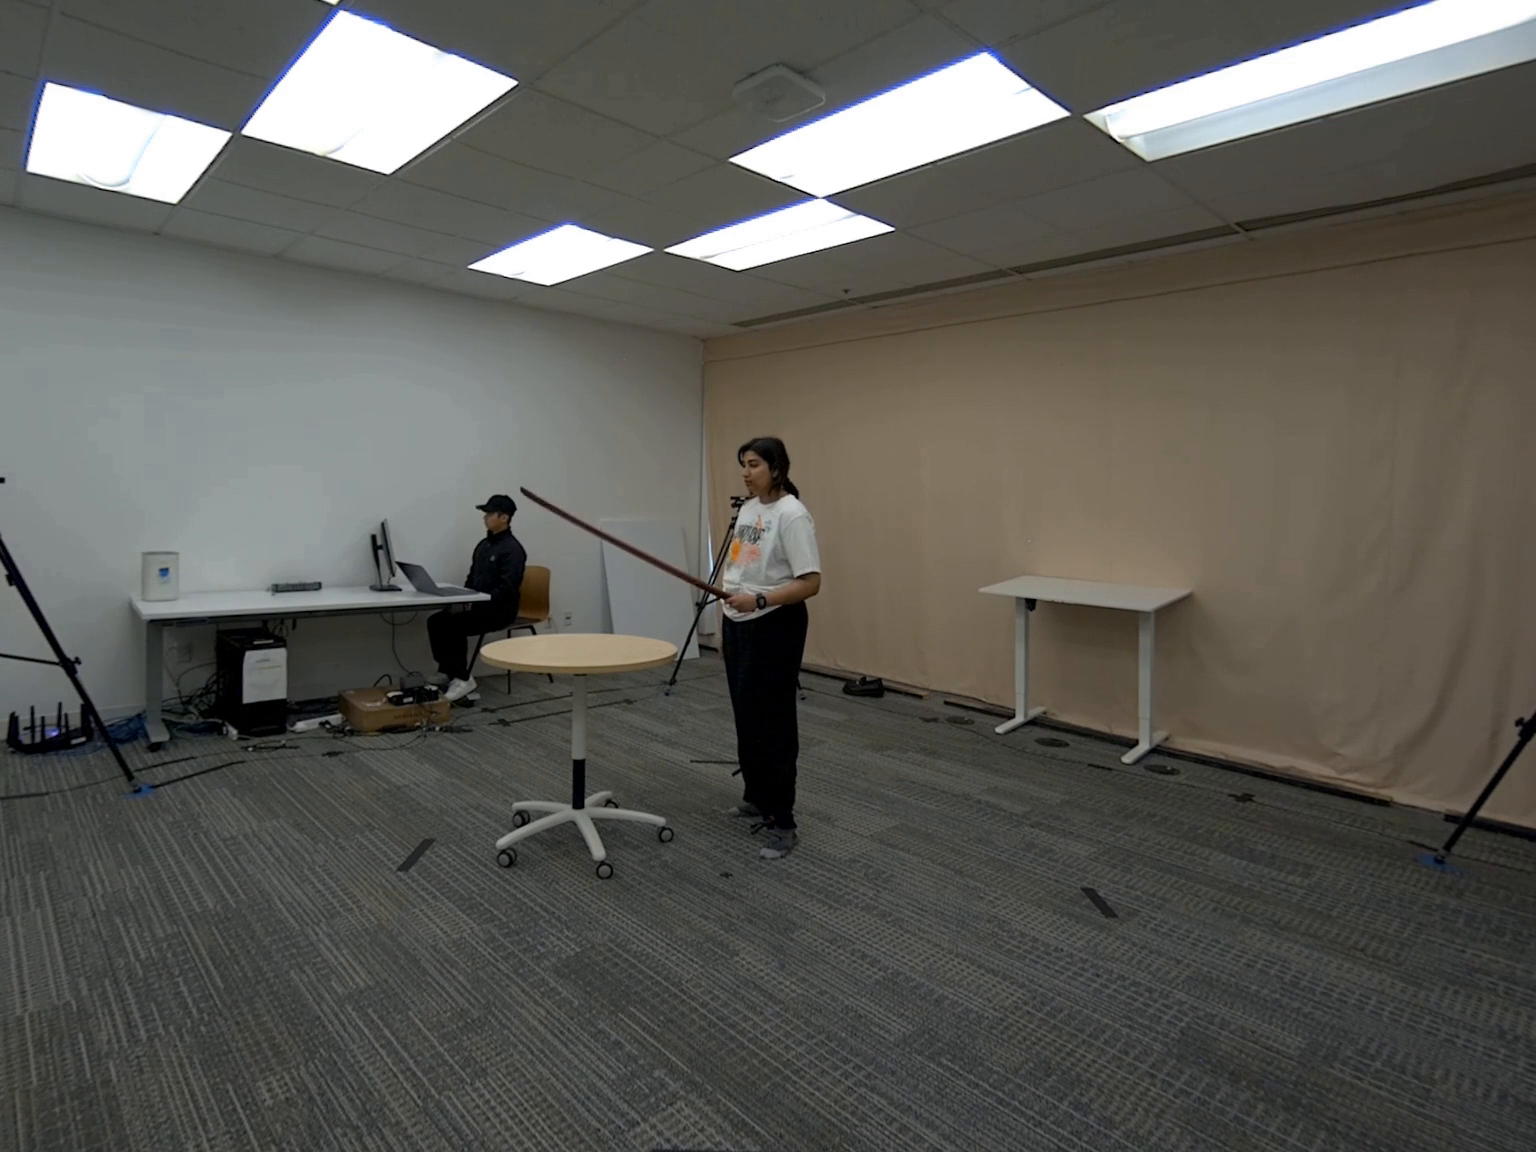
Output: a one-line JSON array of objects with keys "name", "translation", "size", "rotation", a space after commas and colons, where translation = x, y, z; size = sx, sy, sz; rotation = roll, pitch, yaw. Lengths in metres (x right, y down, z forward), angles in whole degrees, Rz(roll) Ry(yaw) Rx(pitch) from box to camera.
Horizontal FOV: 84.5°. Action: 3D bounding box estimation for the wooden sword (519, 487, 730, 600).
[{"name": "wooden sword", "translation": [-0.478, -0.068, 3.229], "size": [1.008, 0.024, 0.052], "rotation": [29, -21, -16]}]
